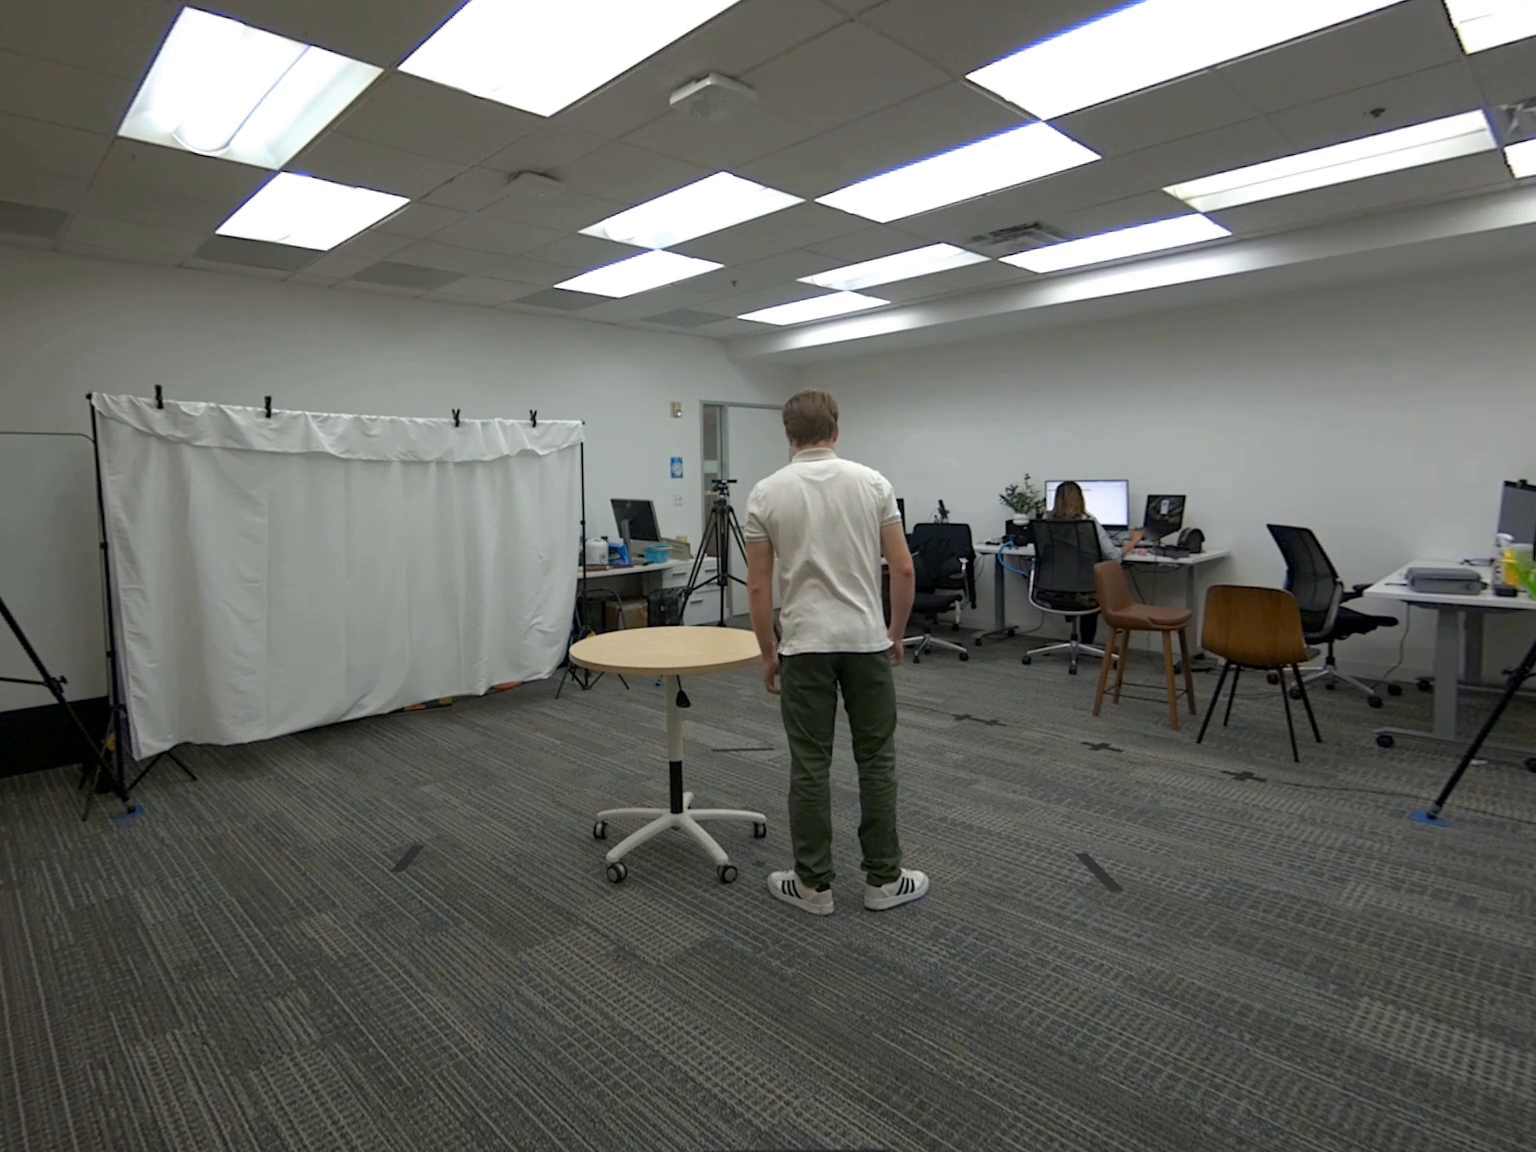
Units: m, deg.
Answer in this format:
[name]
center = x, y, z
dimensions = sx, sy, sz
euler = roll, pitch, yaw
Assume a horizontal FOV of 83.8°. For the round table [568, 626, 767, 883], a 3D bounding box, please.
[round table]
center = -0.351, 0.648, 3.241
dimensions = 0.763, 0.791, 0.768
euler = -1, 5, -2
